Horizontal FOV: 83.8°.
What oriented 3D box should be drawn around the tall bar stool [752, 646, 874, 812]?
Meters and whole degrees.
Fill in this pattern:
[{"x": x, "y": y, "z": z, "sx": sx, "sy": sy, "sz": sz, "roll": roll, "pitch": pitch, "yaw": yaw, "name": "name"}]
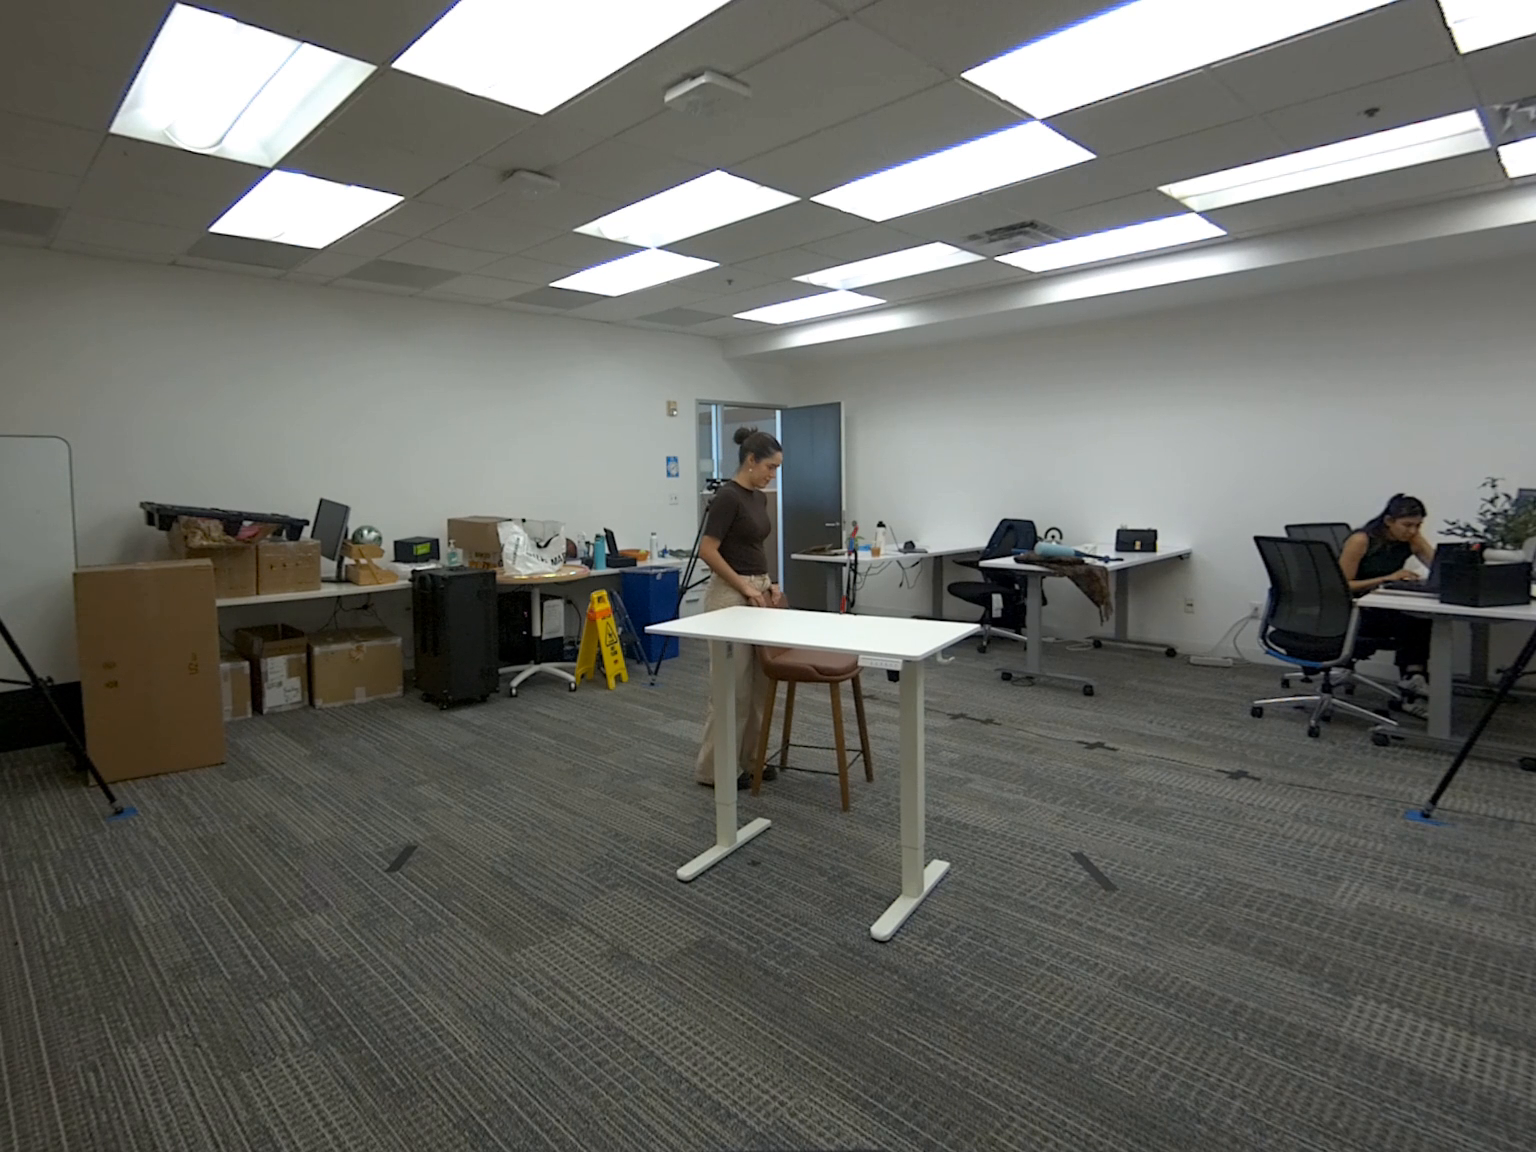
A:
[{"x": 0.187, "y": 0.521, "z": 3.821, "sx": 0.478, "sy": 0.888, "sz": 0.448, "roll": -2, "pitch": 3, "yaw": 24, "name": "tall bar stool"}]
